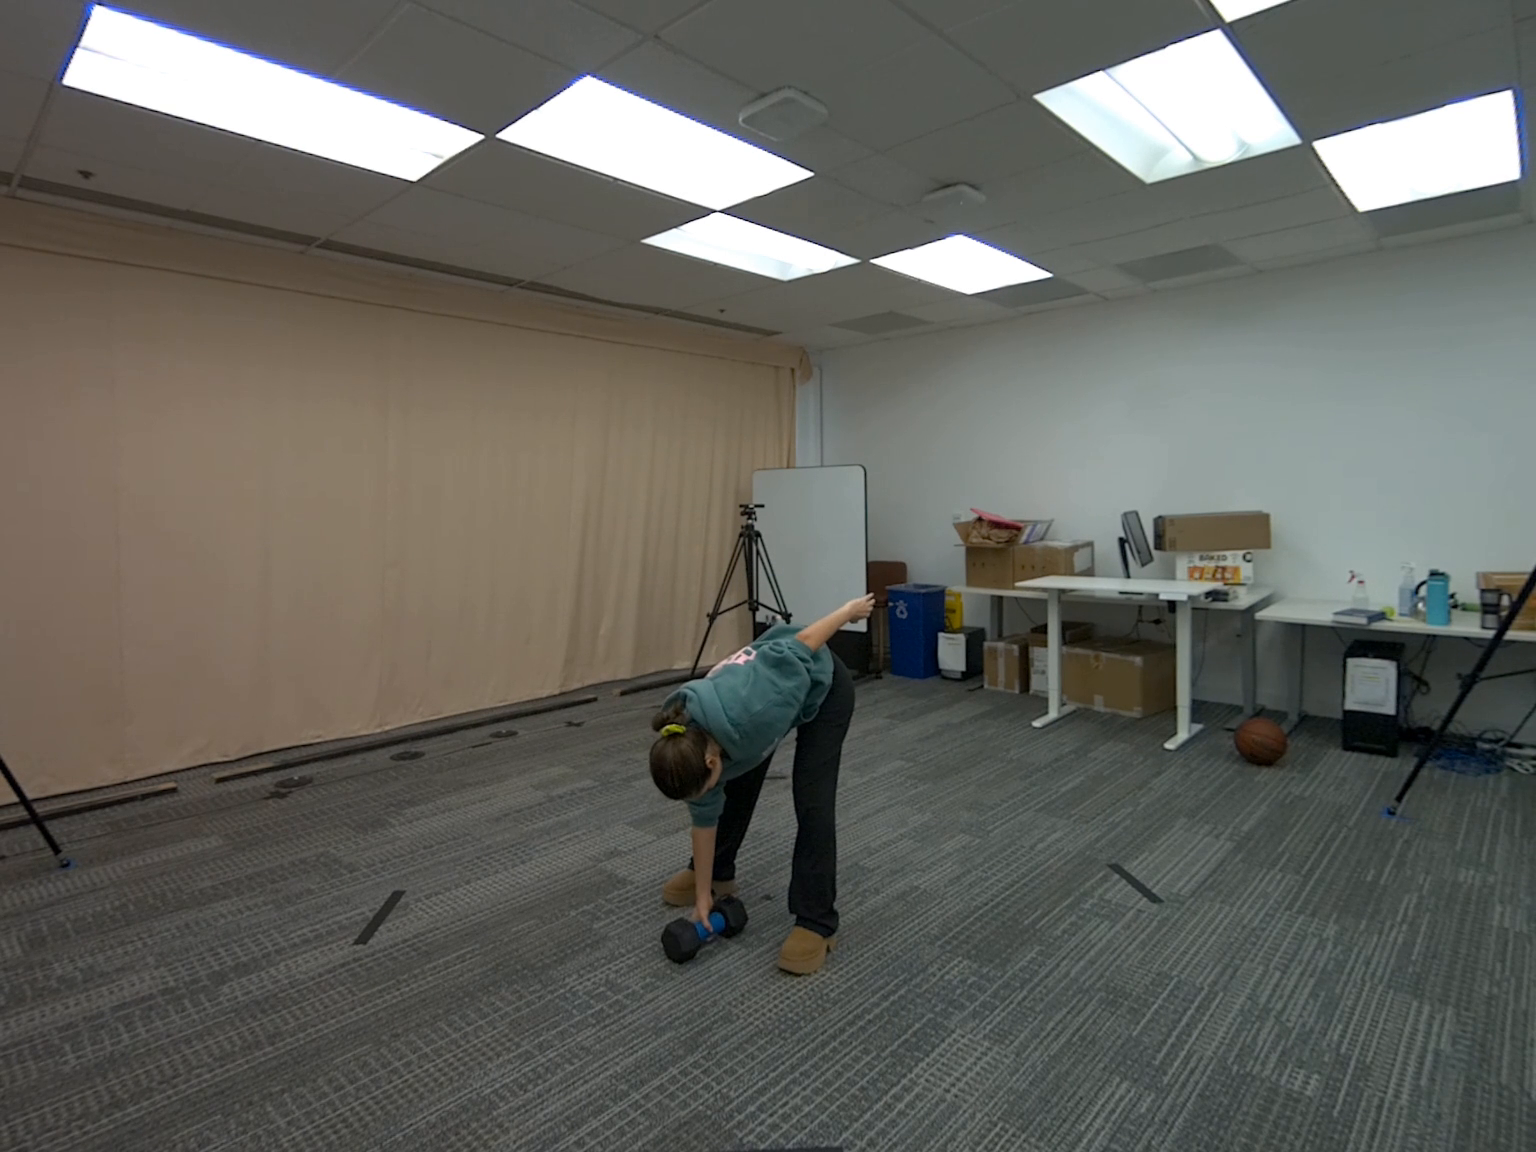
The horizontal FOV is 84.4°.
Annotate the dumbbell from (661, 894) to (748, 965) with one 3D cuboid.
[{"bbox_3d":[-0.194,1.109,2.668,0.127,0.108,0.284,6,7,42],"label":"dumbbell"}]
